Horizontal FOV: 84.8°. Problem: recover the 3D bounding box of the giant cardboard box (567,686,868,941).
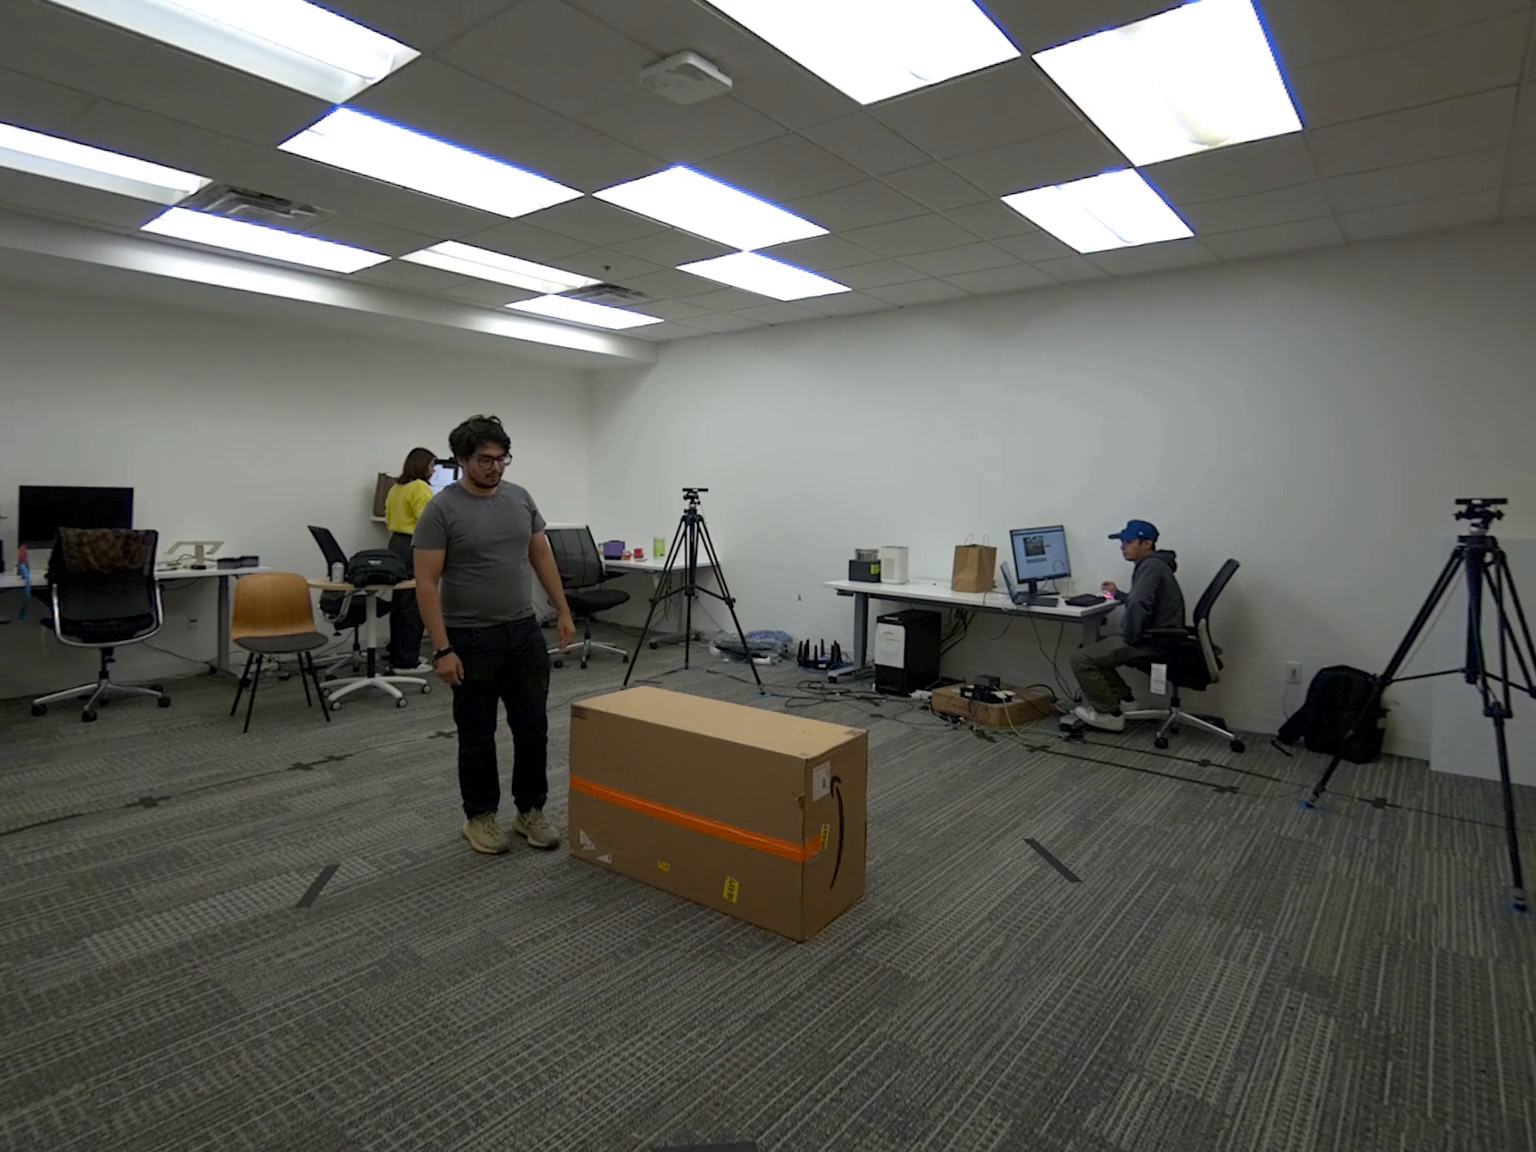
[{"bbox_3d":[-0.212,0.785,3.052,1.059,0.575,0.414,4,5,35],"label":"giant cardboard box"}]
